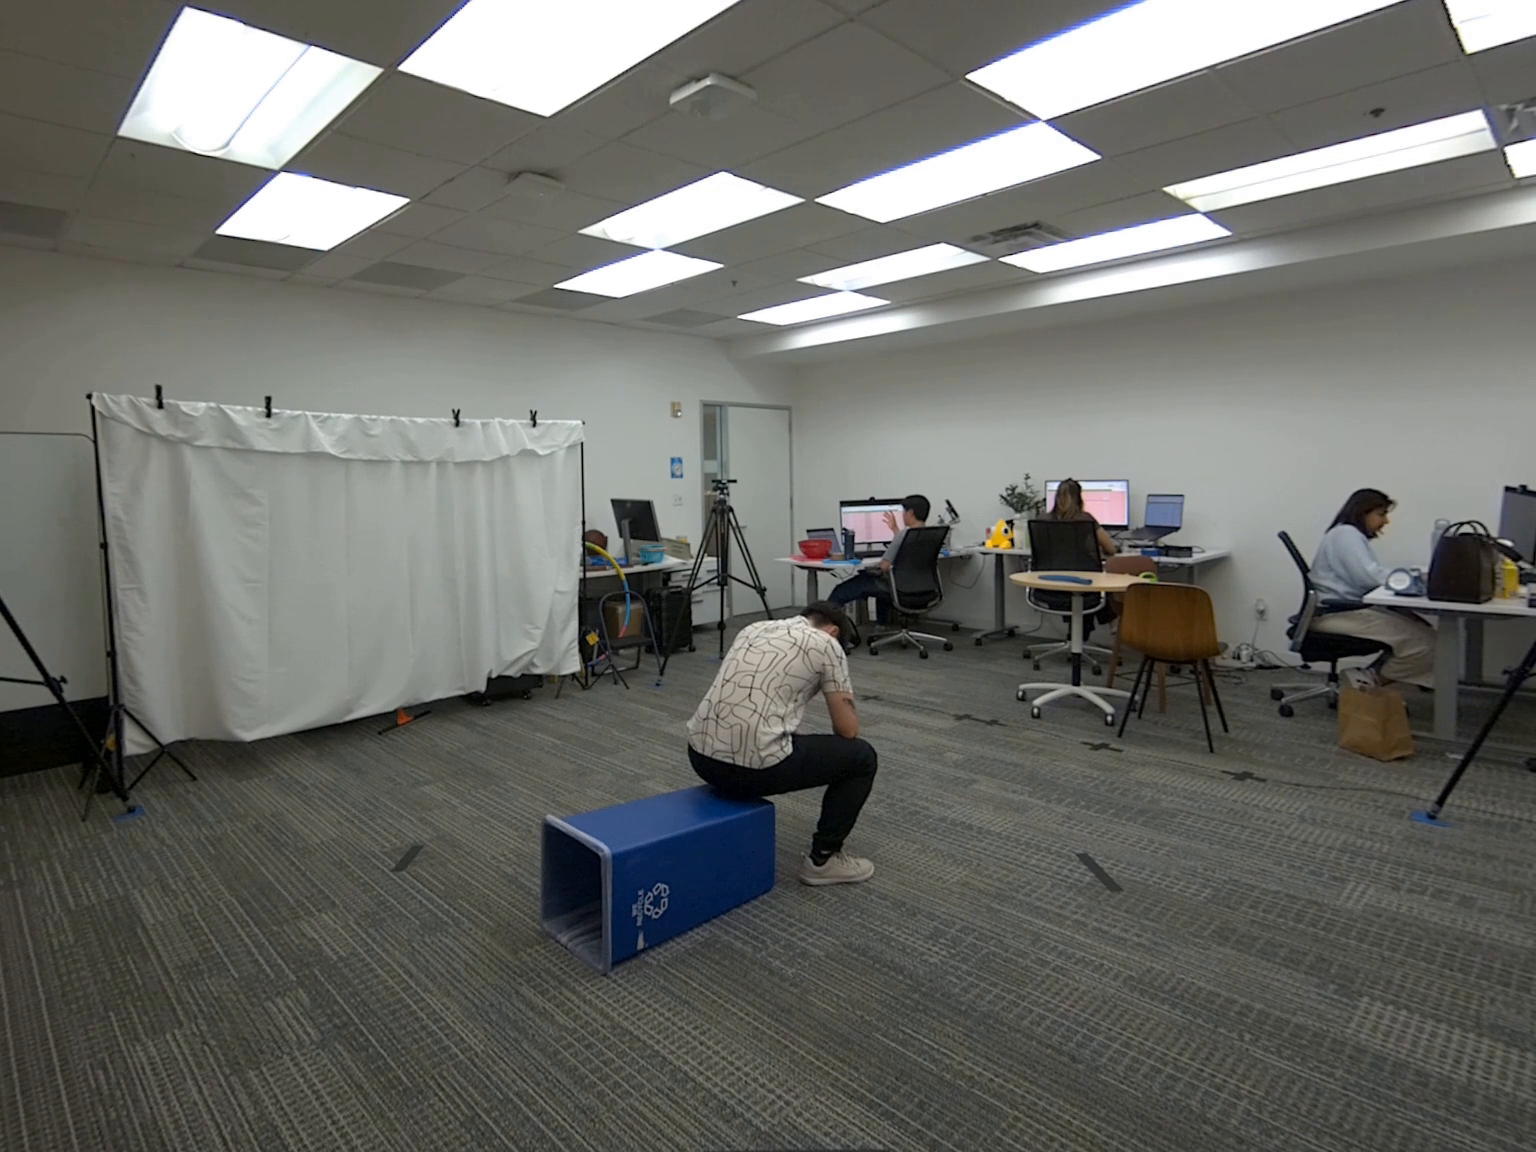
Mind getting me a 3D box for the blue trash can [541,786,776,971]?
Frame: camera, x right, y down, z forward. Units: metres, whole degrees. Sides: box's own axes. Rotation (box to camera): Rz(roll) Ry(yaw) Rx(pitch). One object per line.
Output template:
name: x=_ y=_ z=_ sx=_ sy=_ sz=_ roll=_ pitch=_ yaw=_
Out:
blue trash can: x=-0.324 y=0.917 z=2.777 sx=0.694 sy=0.377 sz=0.385 roll=-4 pitch=6 yaw=-42
